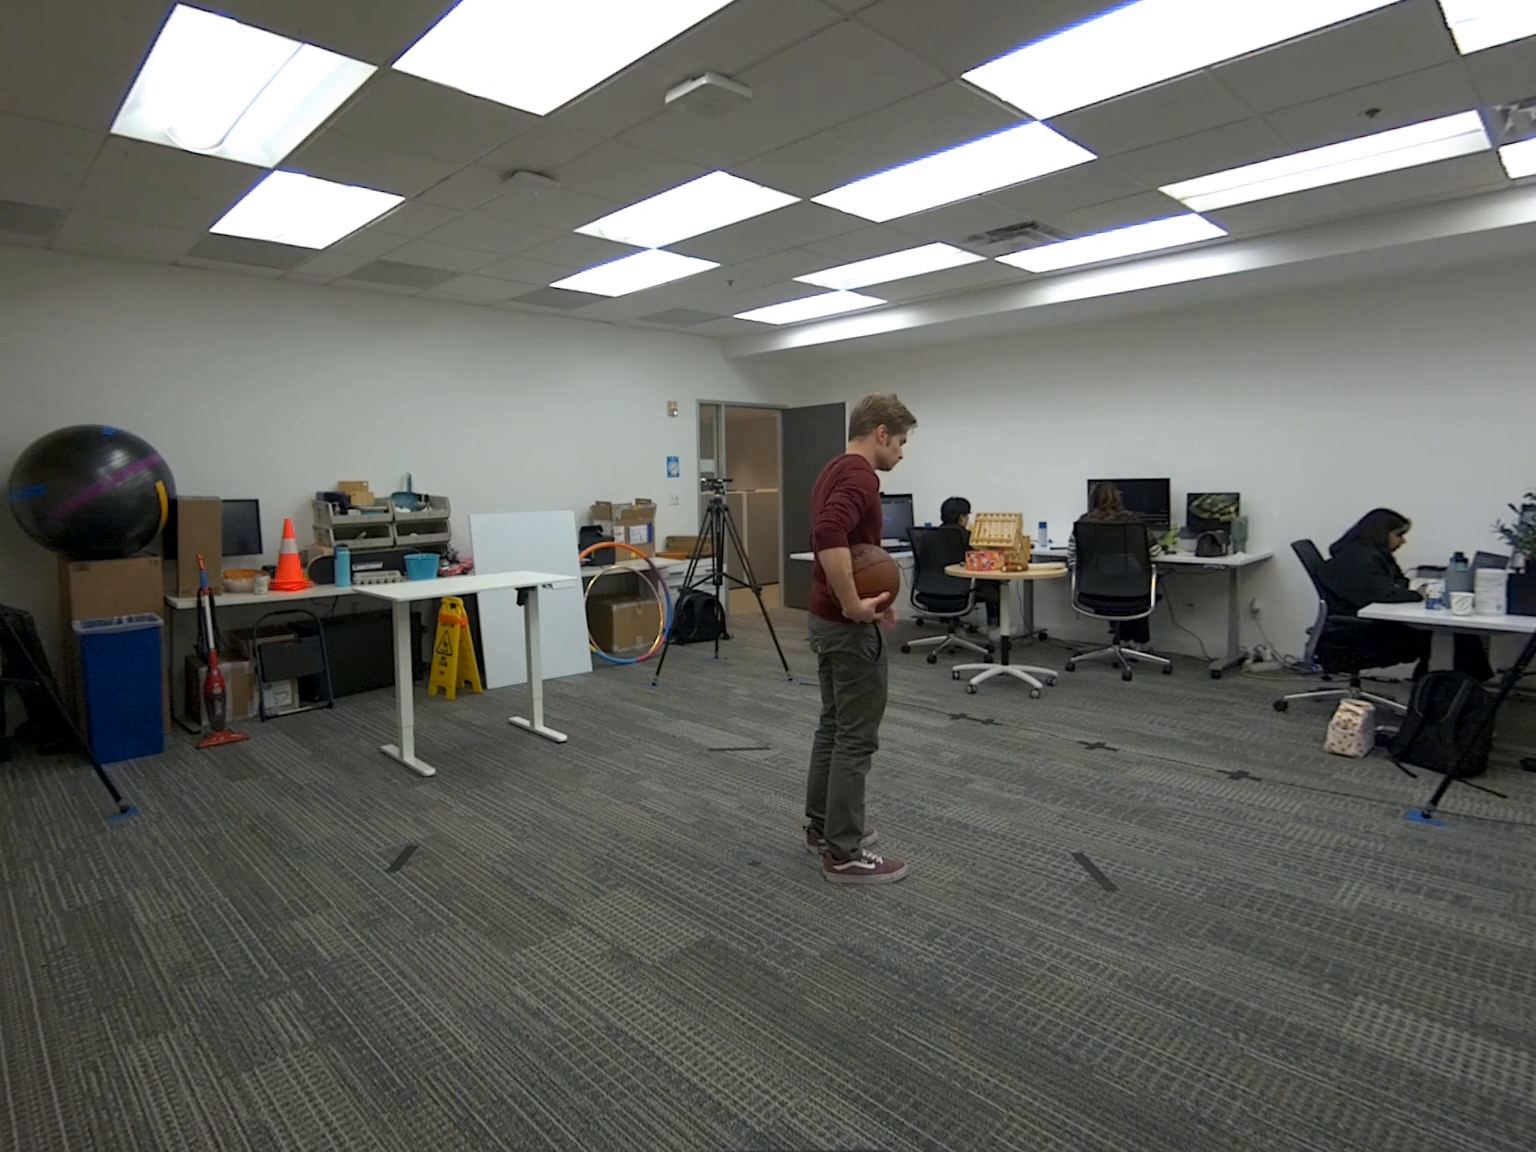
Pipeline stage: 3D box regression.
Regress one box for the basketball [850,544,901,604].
[{"bbox_3d":[0.317,0.014,2.806,0.236,0.235,0.237,-1,5,-2],"label":"basketball"}]
